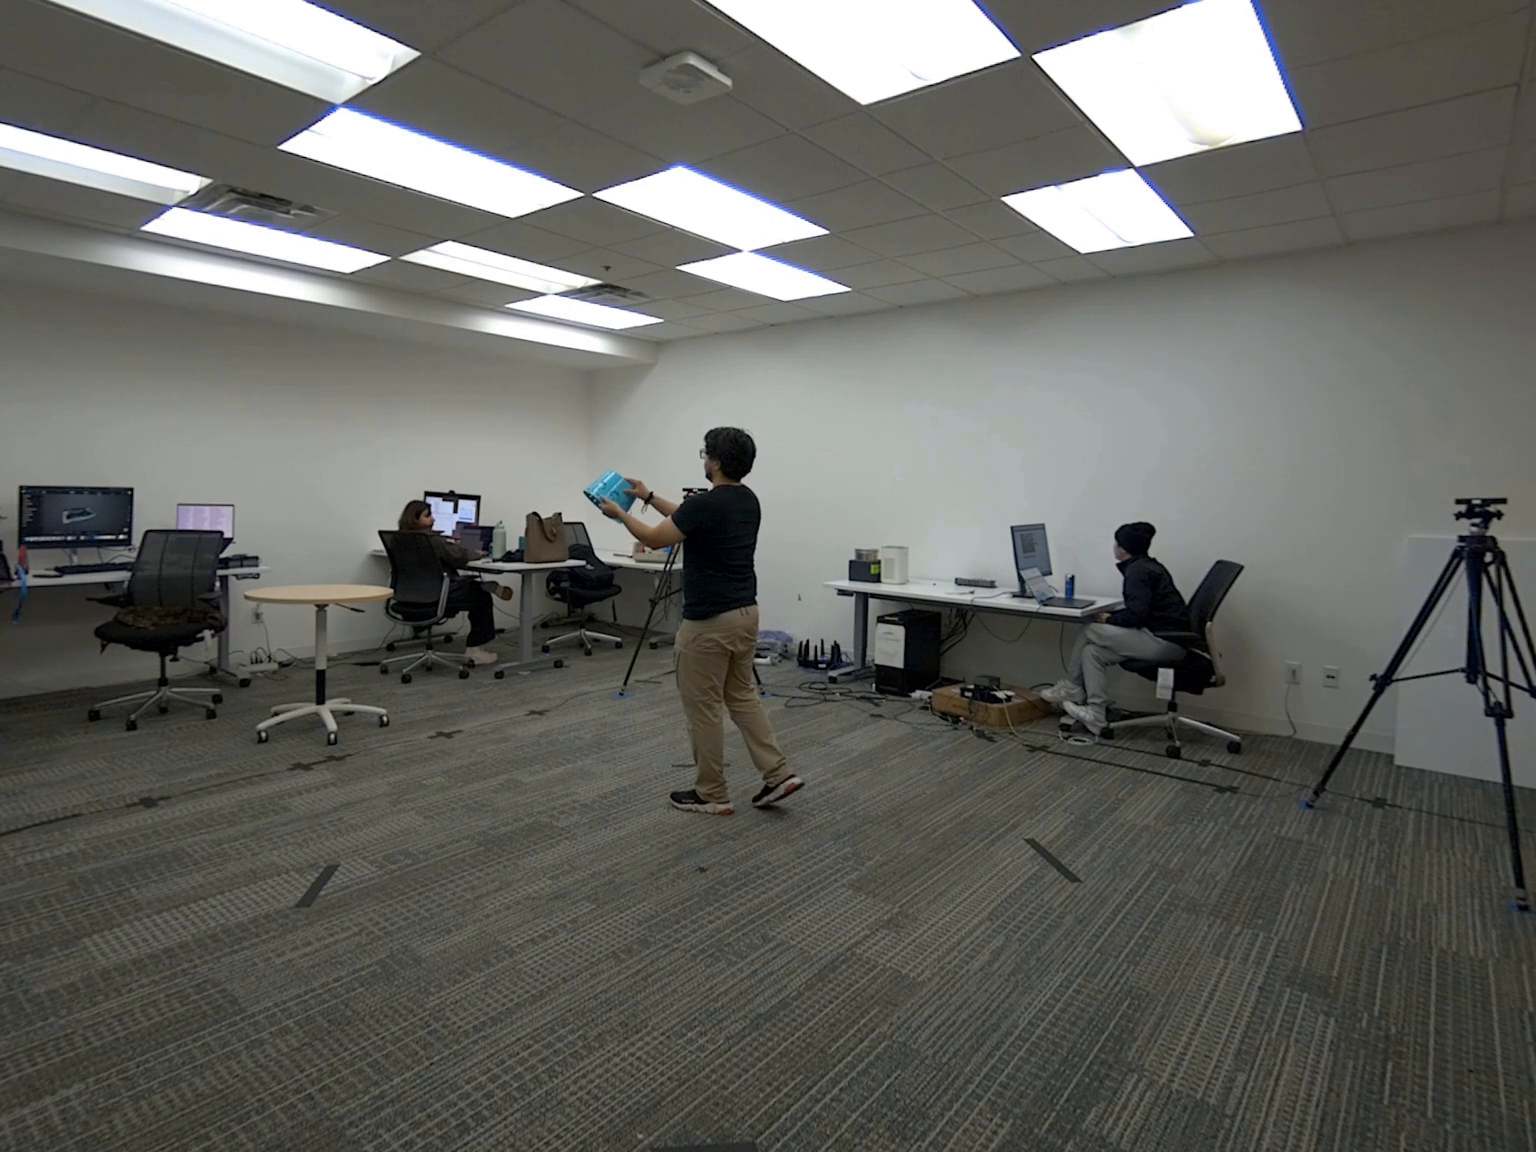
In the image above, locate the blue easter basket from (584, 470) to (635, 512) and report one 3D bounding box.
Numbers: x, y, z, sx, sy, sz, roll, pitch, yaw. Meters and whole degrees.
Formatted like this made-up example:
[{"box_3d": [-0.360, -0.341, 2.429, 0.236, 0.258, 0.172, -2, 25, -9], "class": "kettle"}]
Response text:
[{"box_3d": [-0.724, -0.377, 3.920, 0.246, 0.156, 0.241, 39, -11, 7], "class": "blue easter basket"}]
